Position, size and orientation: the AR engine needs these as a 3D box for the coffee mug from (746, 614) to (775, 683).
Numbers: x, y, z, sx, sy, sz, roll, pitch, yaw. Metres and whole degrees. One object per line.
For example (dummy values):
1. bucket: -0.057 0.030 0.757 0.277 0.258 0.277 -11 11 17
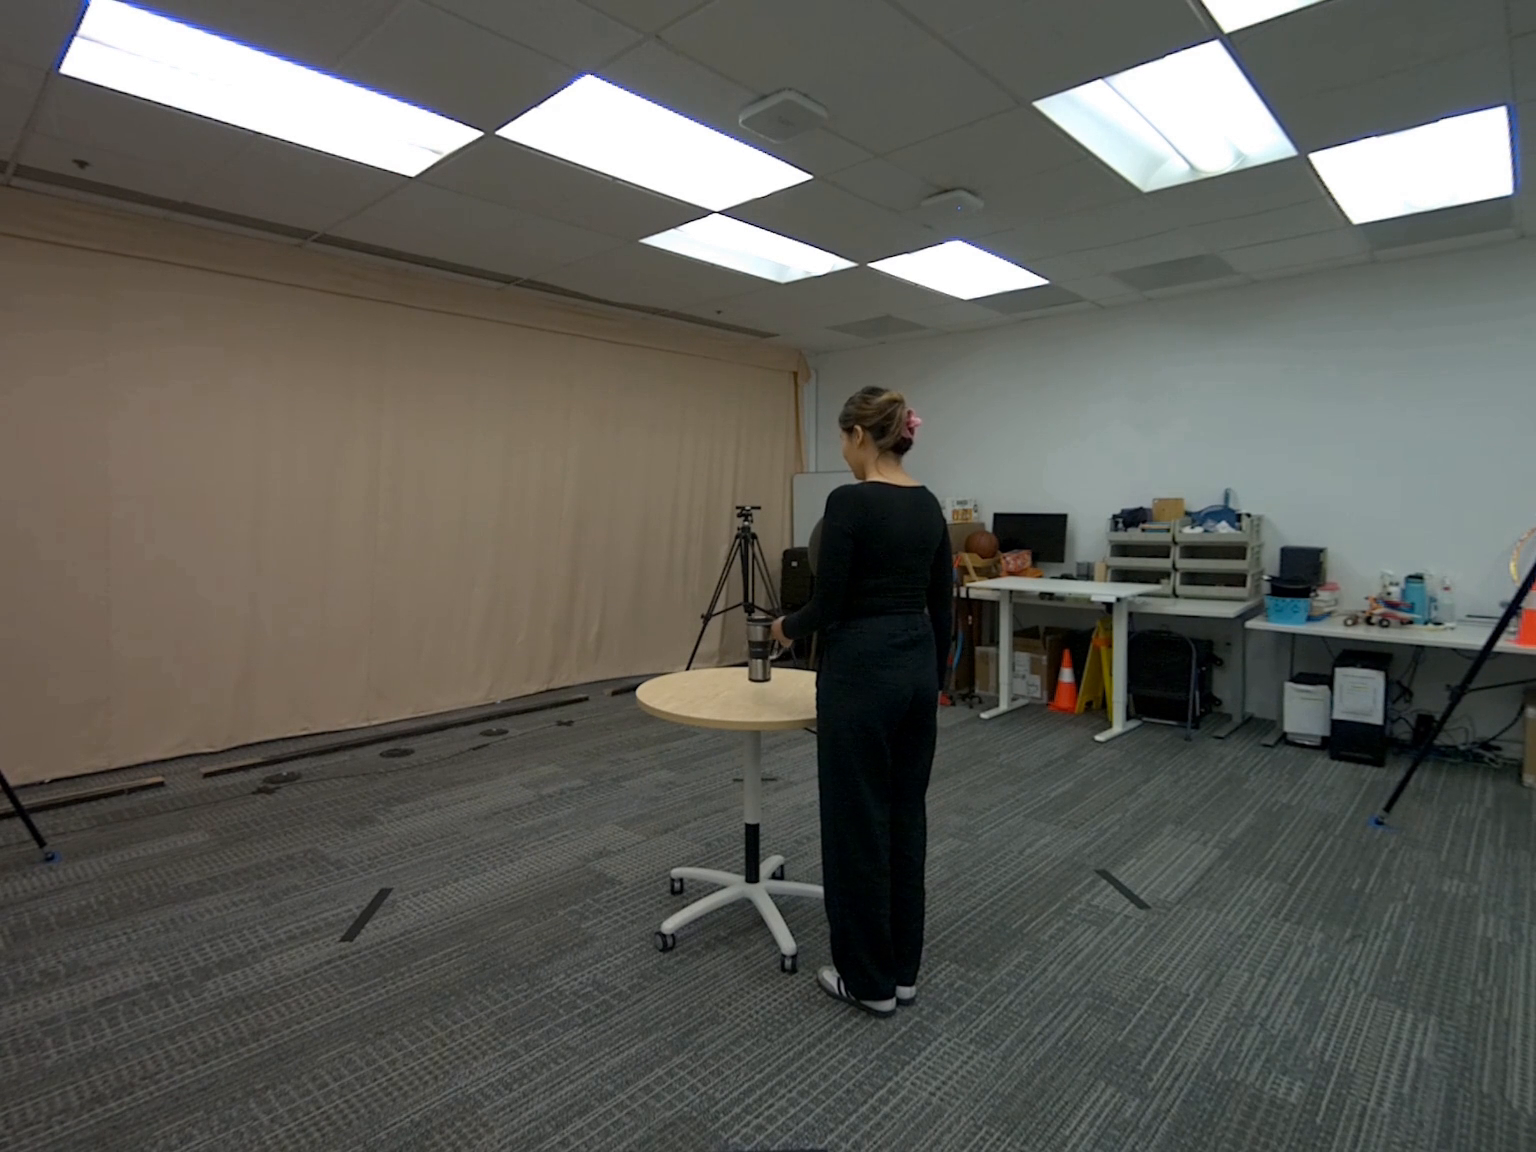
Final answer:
1. coffee mug: -0.009 0.222 2.601 0.085 0.203 0.126 0 1 -40
